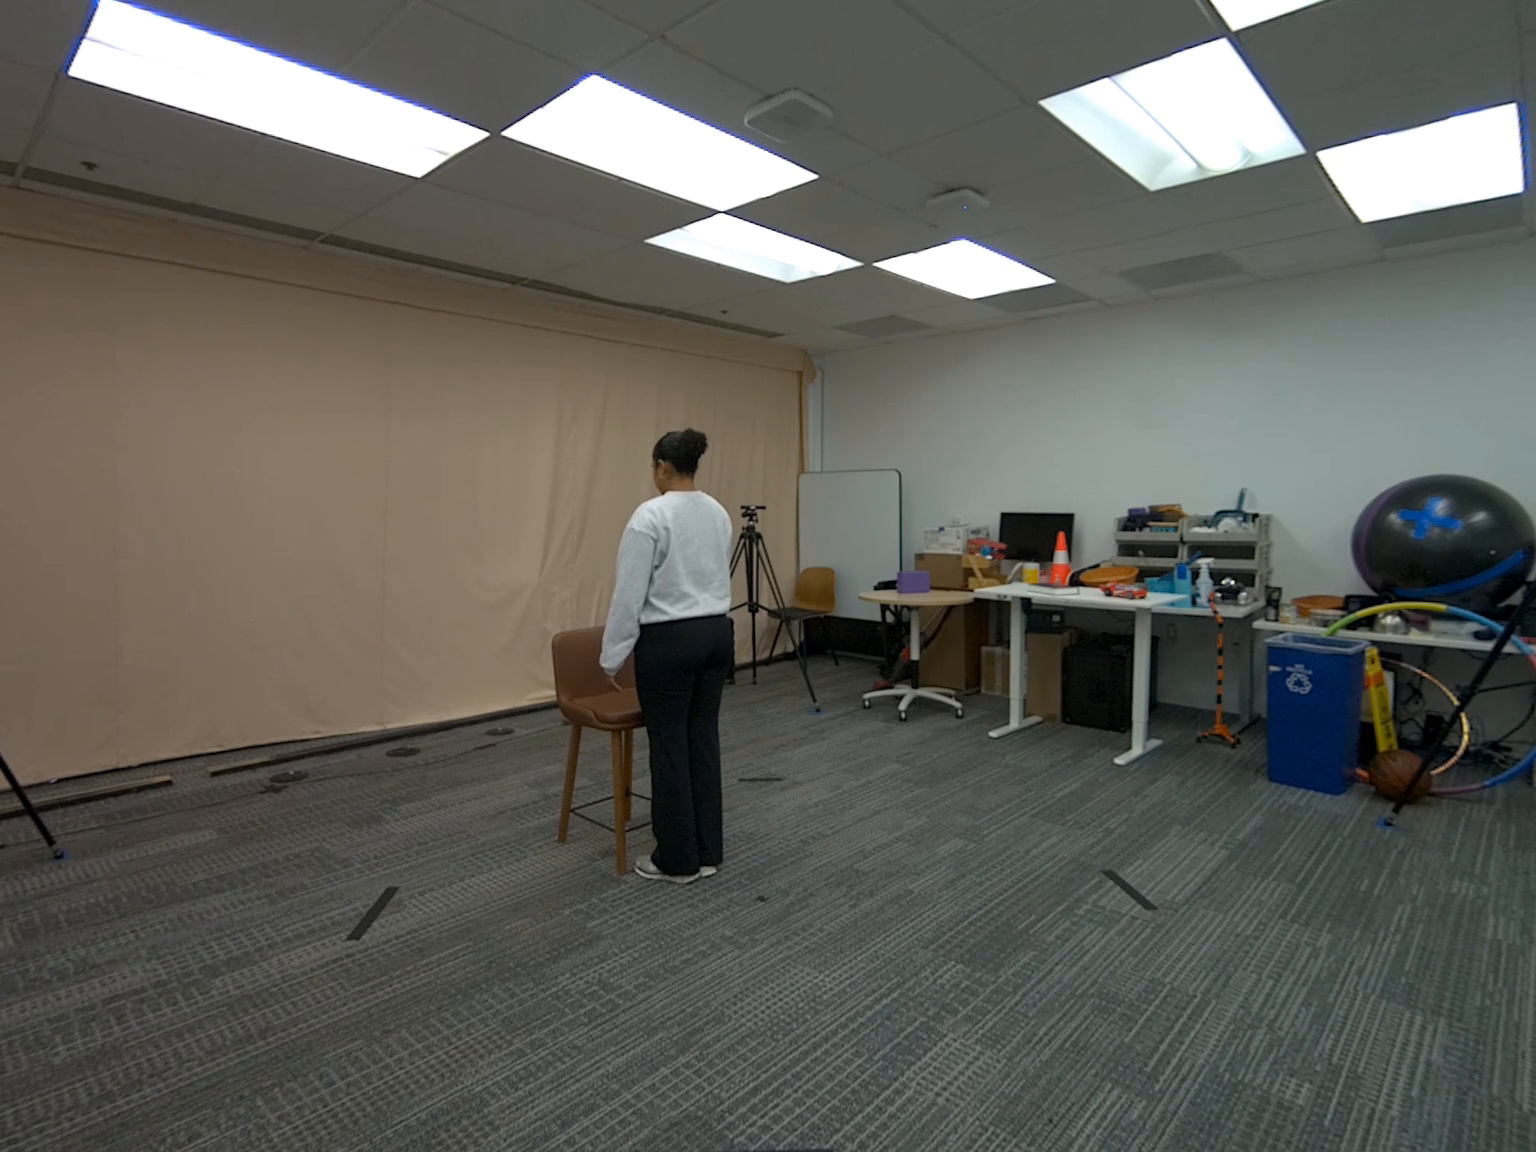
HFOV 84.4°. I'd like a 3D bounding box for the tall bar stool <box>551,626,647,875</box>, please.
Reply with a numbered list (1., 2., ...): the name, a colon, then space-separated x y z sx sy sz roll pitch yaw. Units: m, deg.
1. tall bar stool: -0.595 0.667 3.460 0.483 0.889 0.442 -1 2 44
